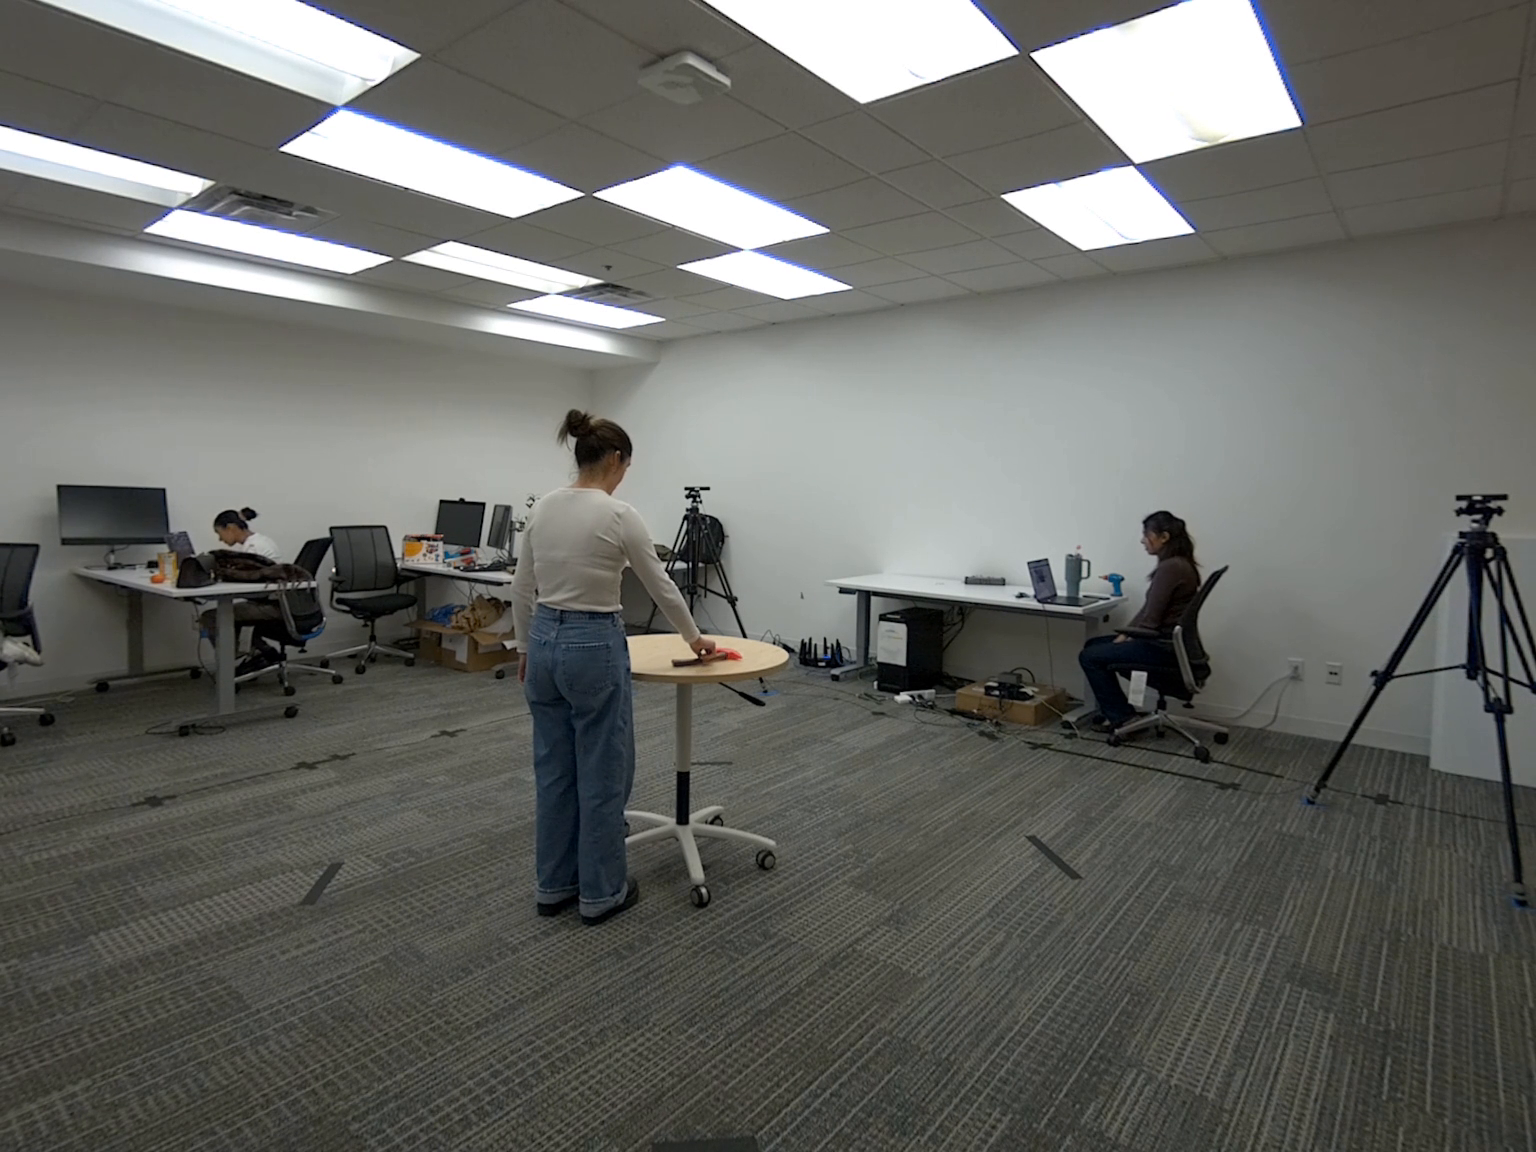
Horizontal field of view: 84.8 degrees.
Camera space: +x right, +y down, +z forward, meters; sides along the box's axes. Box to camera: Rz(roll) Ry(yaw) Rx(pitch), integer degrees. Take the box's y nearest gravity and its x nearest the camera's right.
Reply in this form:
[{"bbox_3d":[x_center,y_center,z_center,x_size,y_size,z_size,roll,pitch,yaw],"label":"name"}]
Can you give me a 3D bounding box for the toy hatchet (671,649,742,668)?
[{"bbox_3d":[-0.235,0.283,2.992,0.263,0.029,0.136,-4,14,-29],"label":"toy hatchet"}]
